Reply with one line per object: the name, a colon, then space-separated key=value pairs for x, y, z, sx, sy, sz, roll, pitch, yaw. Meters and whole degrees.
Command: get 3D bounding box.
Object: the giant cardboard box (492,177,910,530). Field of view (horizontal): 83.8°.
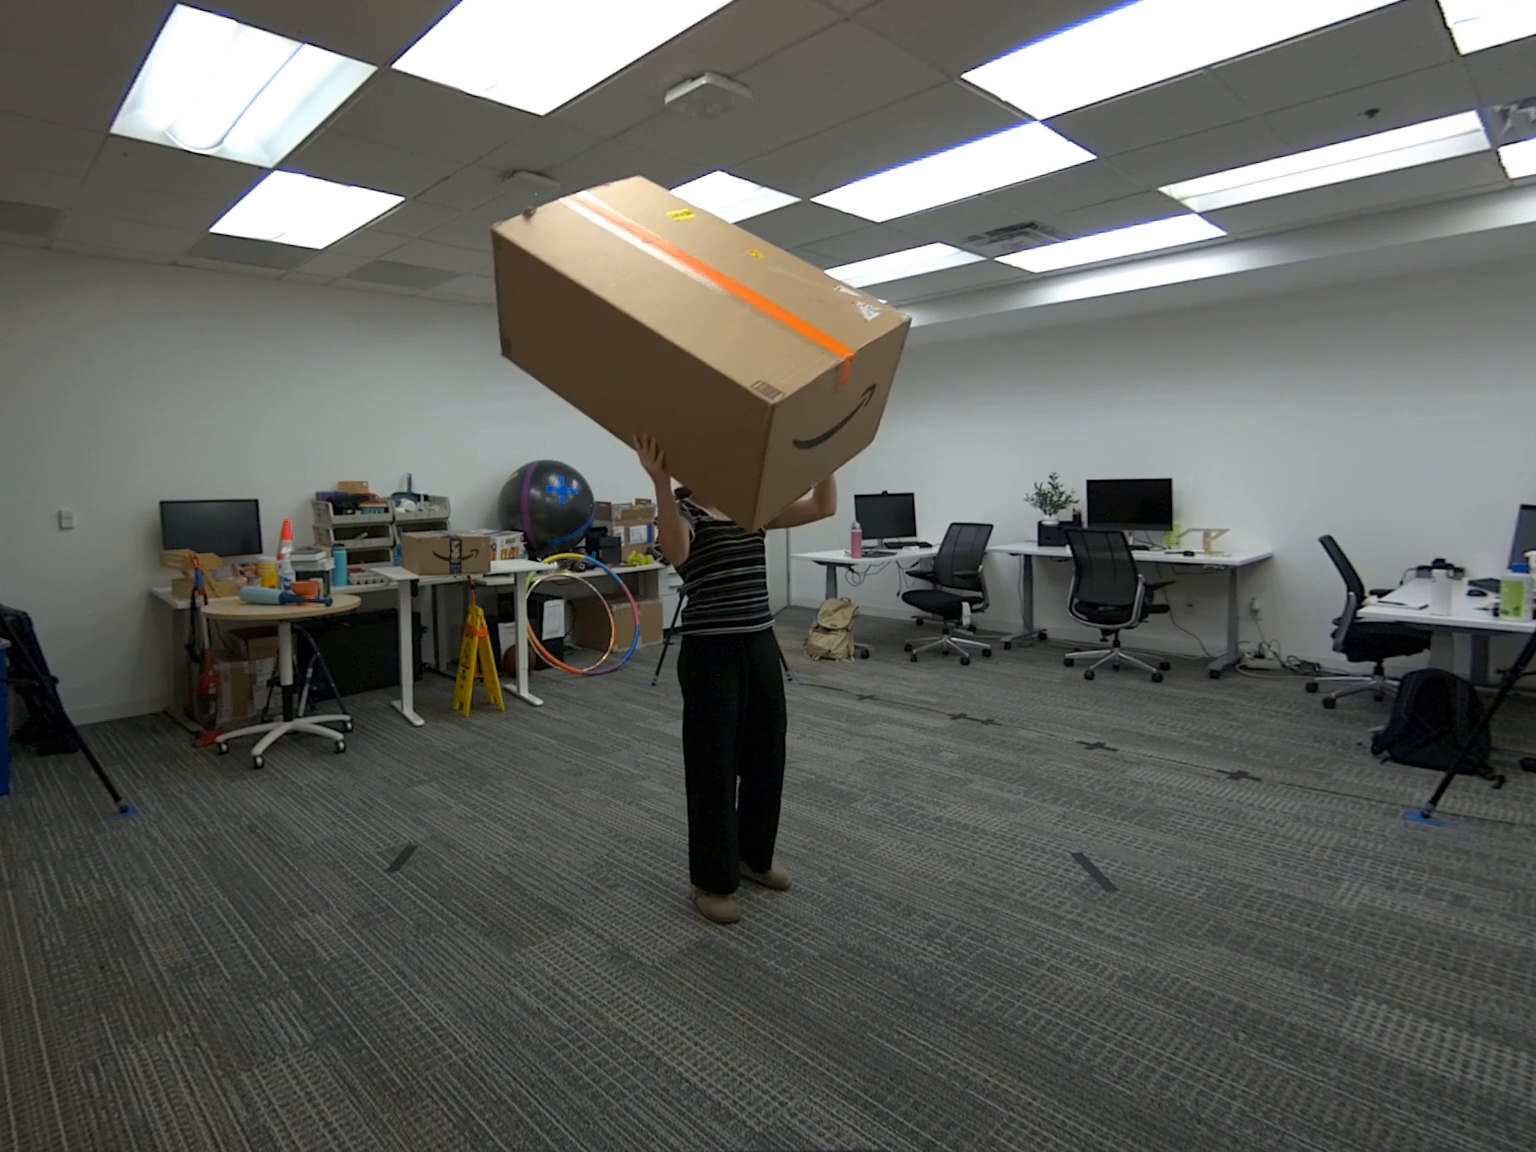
giant cardboard box: x=-0.211 y=-0.665 z=2.430 sx=1.056 sy=0.417 sz=0.573 roll=36 pitch=51 yaw=23
